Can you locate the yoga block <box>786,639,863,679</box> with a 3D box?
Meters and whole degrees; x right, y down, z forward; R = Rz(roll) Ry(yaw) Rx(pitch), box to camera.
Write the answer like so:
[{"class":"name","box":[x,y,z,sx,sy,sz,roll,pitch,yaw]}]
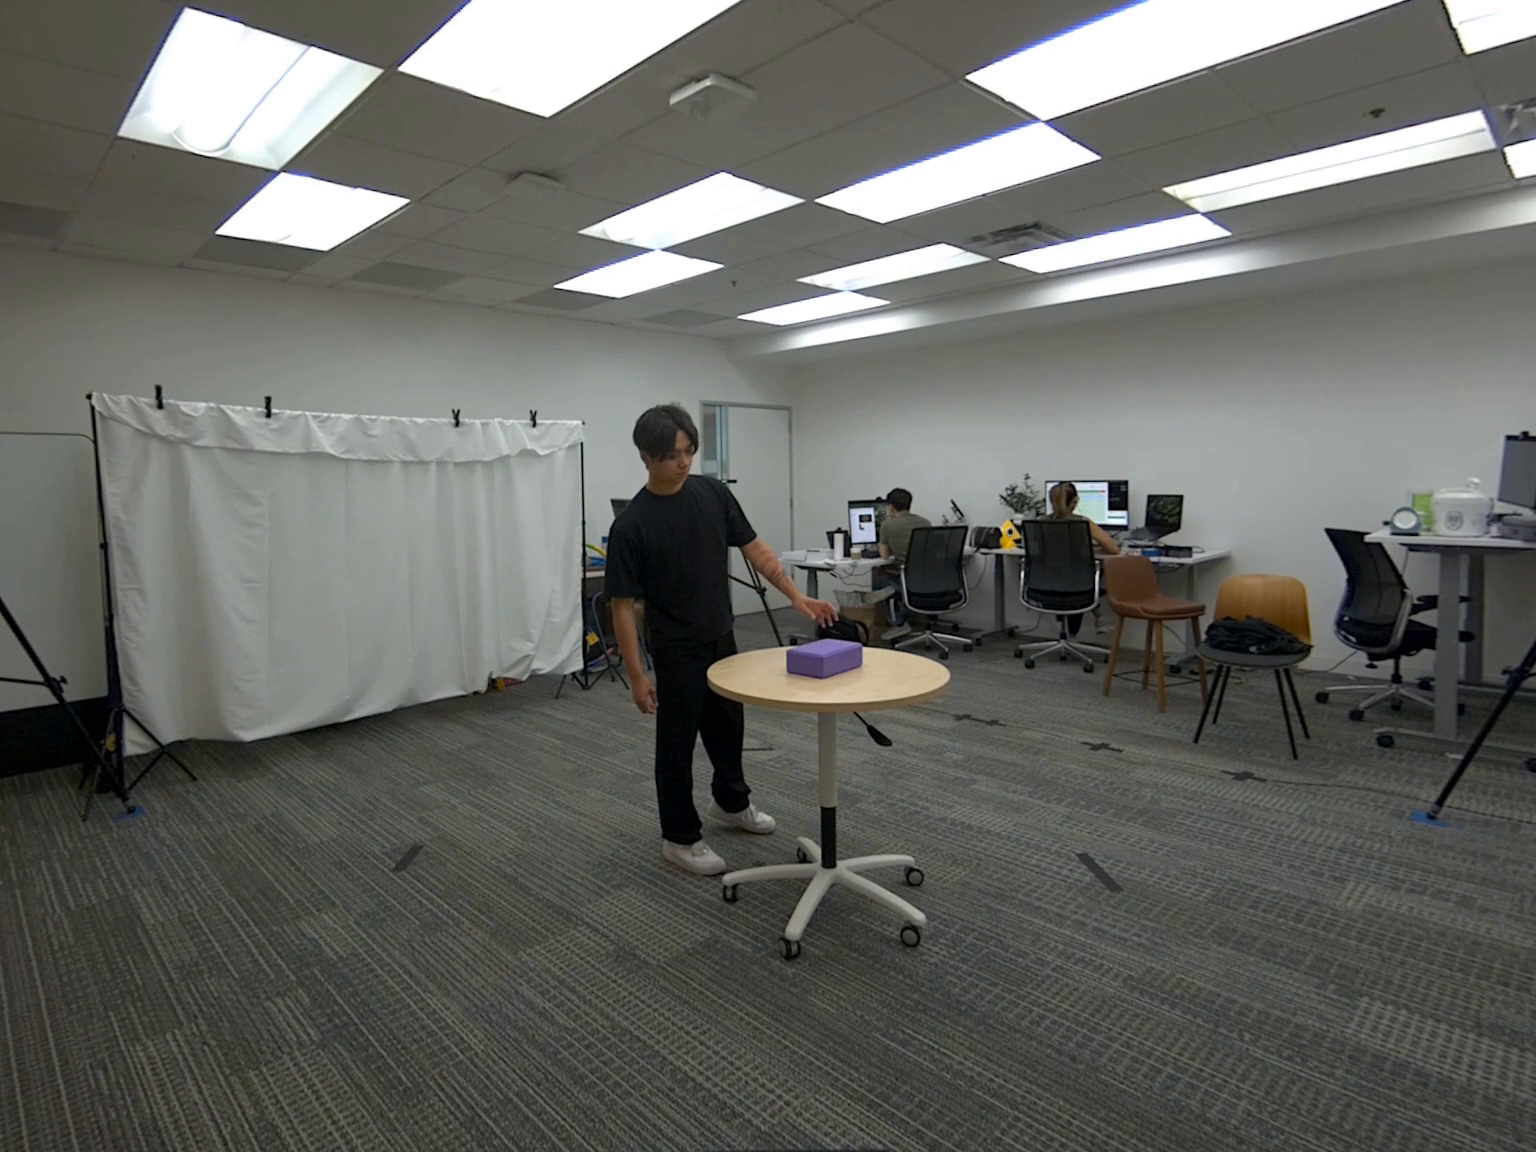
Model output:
[{"class":"yoga block","box":[0.185,0.263,2.740,0.153,0.076,0.223,5,9,41]}]
